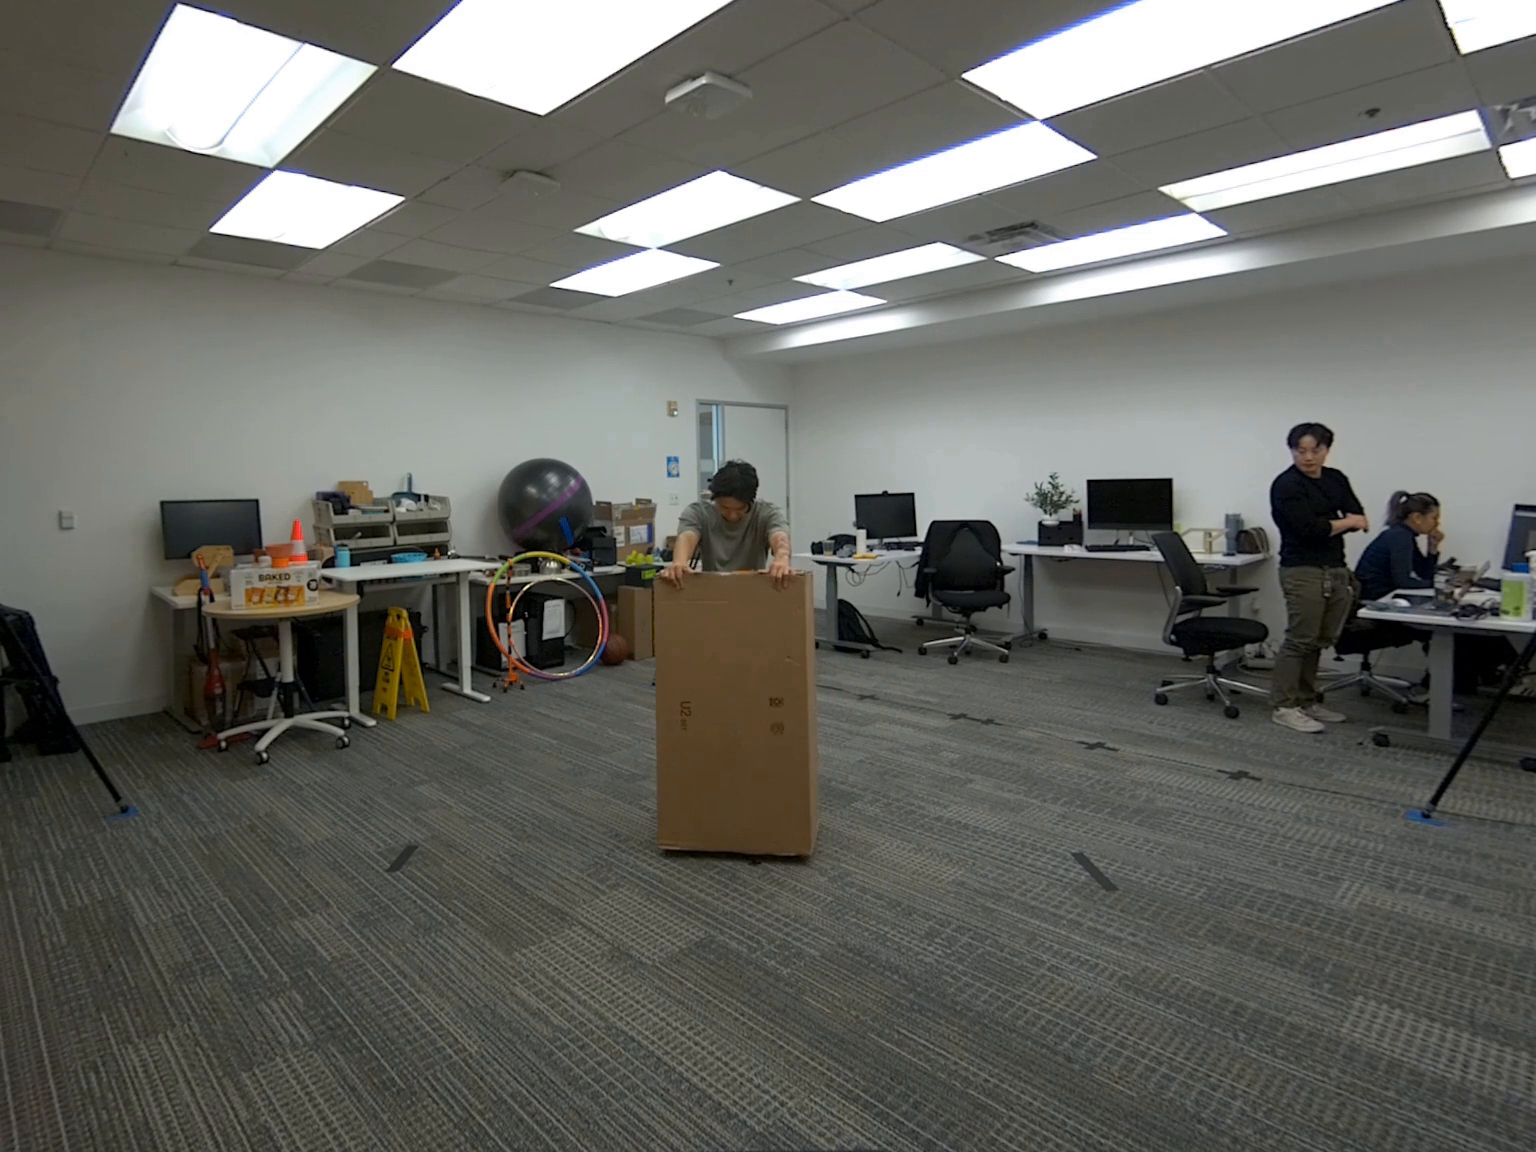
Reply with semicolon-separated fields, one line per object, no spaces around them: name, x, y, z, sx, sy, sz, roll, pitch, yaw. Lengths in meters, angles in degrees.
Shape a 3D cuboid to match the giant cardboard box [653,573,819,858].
giant cardboard box;-0.099;0.496;3.348;0.582;1.027;0.422;-1;-1;7
